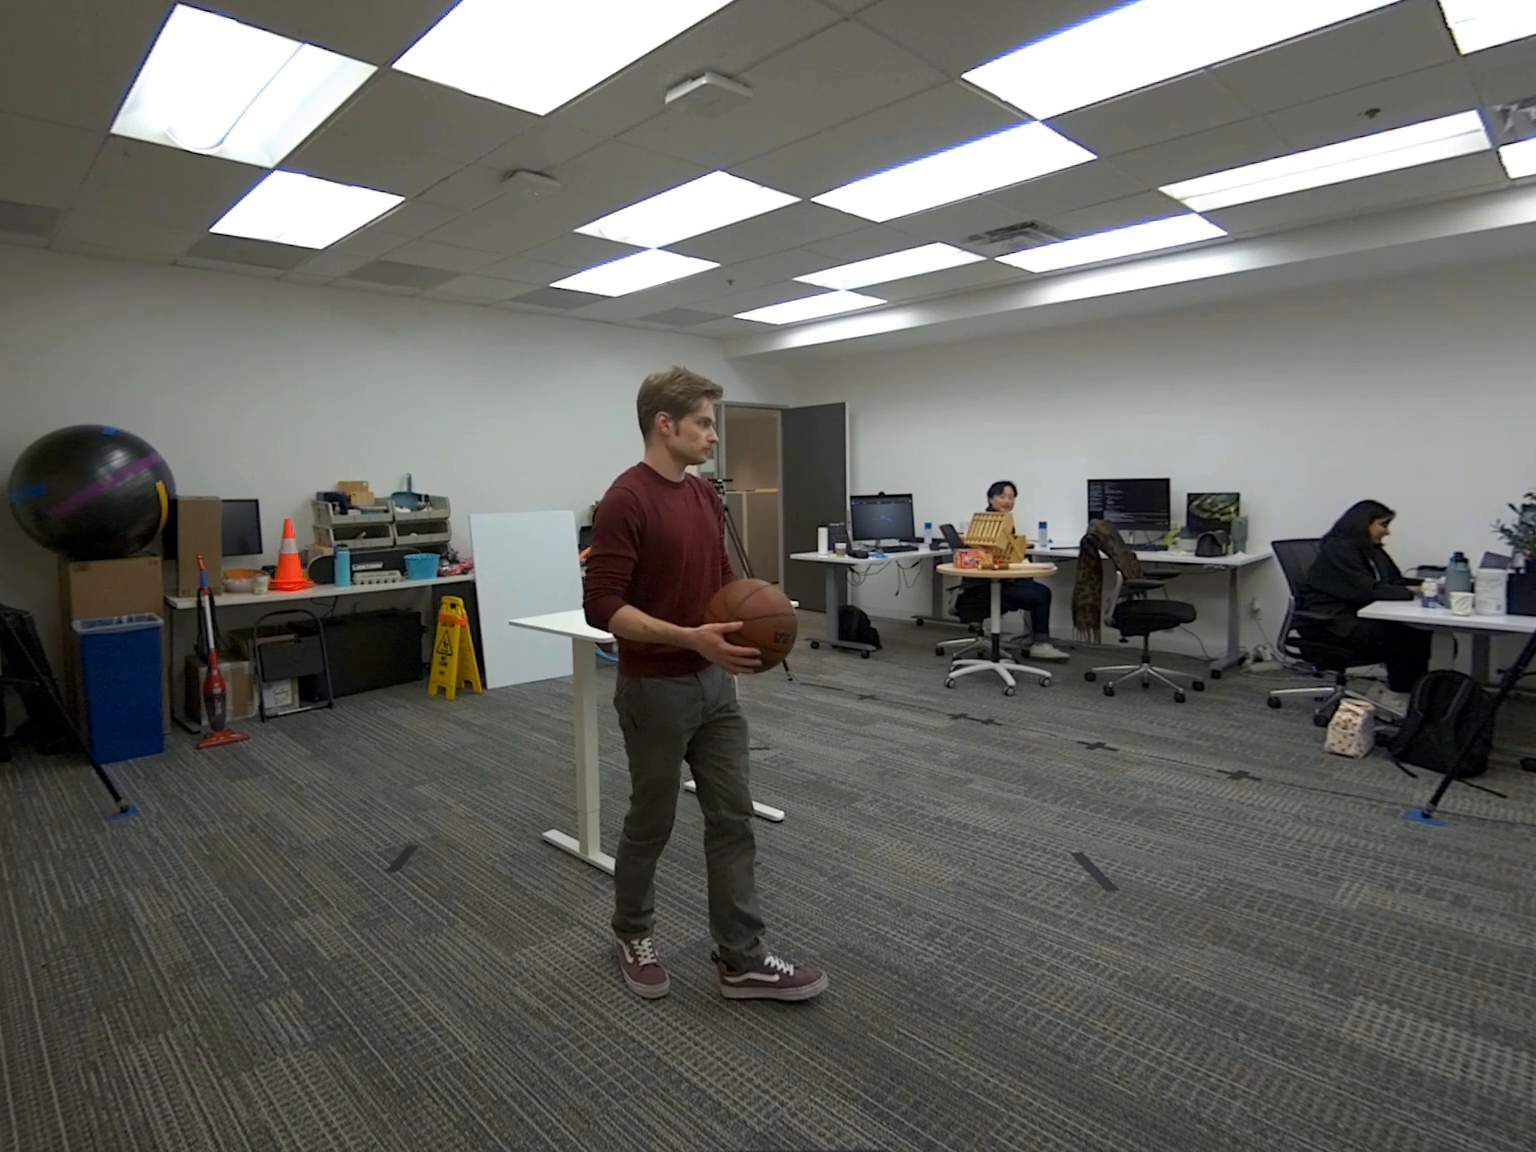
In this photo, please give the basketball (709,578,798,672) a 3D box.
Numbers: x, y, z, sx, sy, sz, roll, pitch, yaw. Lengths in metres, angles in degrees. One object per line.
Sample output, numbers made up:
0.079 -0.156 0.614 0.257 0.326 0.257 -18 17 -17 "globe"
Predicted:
-0.060 0.125 2.158 0.236 0.235 0.237 -1 5 -2 "basketball"
